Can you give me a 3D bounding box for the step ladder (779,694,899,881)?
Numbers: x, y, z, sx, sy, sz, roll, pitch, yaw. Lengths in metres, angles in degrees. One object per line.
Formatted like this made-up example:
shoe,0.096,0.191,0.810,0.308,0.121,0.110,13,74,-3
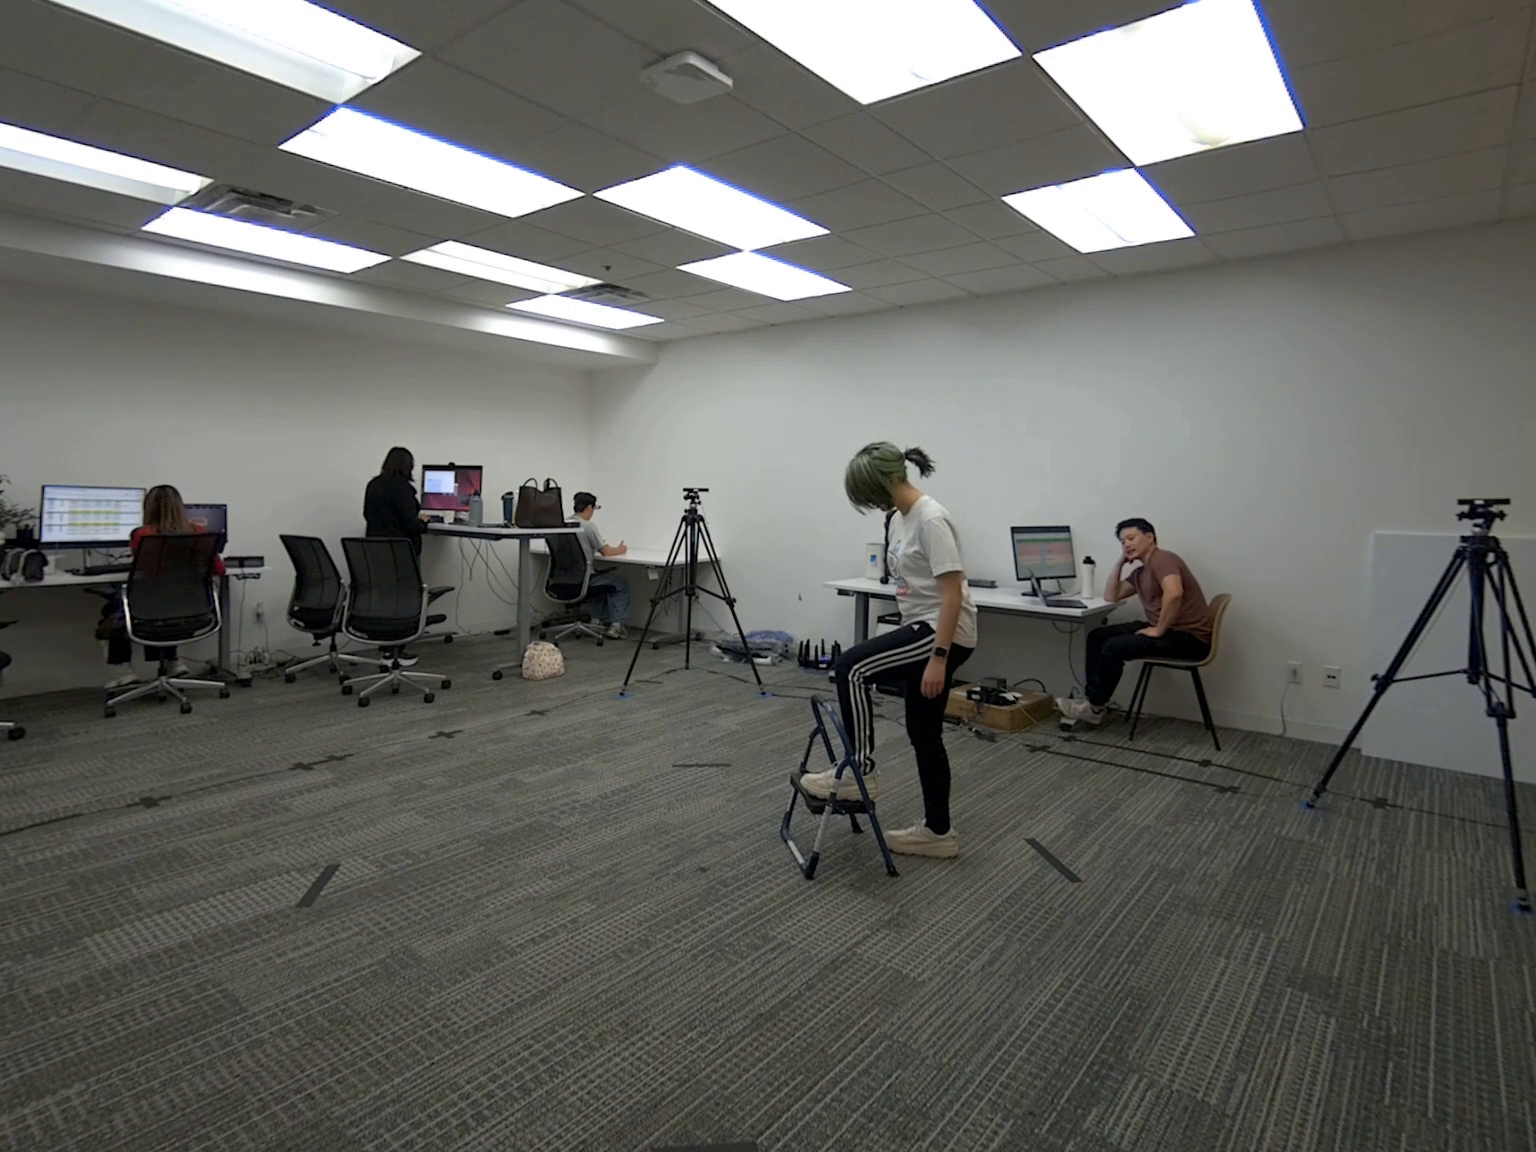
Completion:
step ladder,0.261,0.767,3.257,0.345,0.604,0.437,1,3,-12
